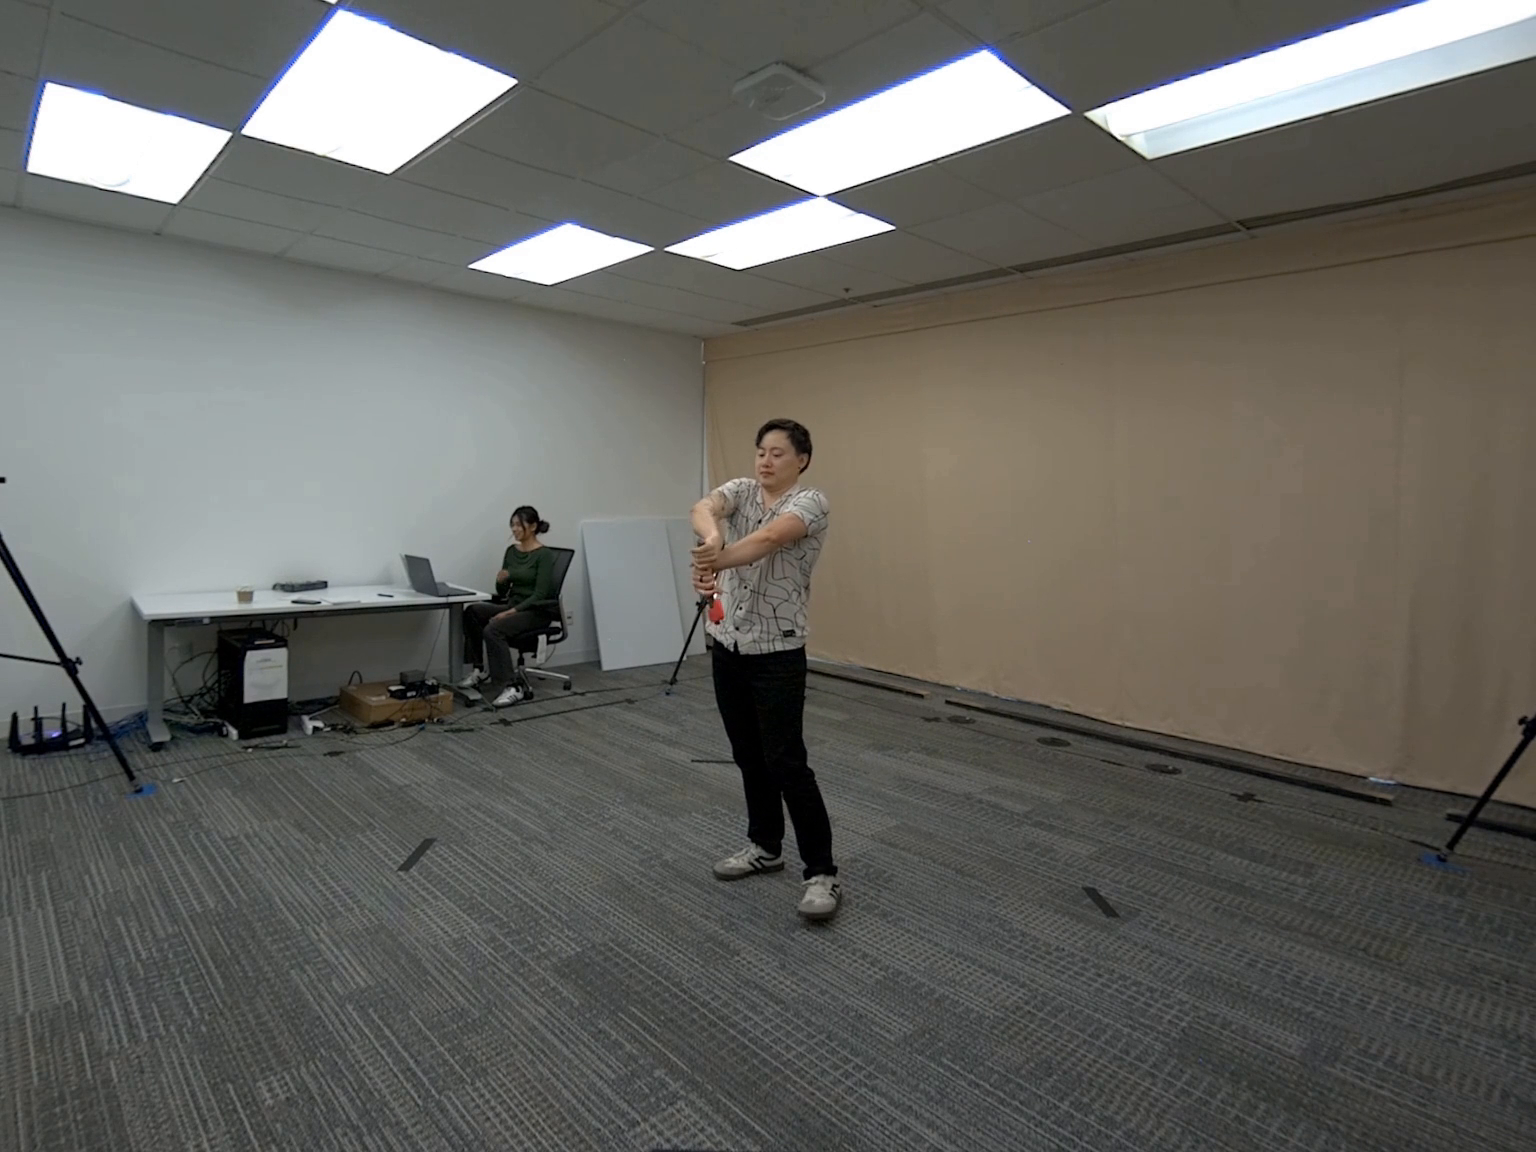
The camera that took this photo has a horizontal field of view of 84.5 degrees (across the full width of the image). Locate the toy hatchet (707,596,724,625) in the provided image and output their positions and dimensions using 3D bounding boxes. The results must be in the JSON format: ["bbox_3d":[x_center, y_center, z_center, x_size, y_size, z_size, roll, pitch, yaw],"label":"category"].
[{"bbox_3d":[-0.167,0.023,2.593,0.029,0.266,0.134,-13,18,-20],"label":"toy hatchet"}]
